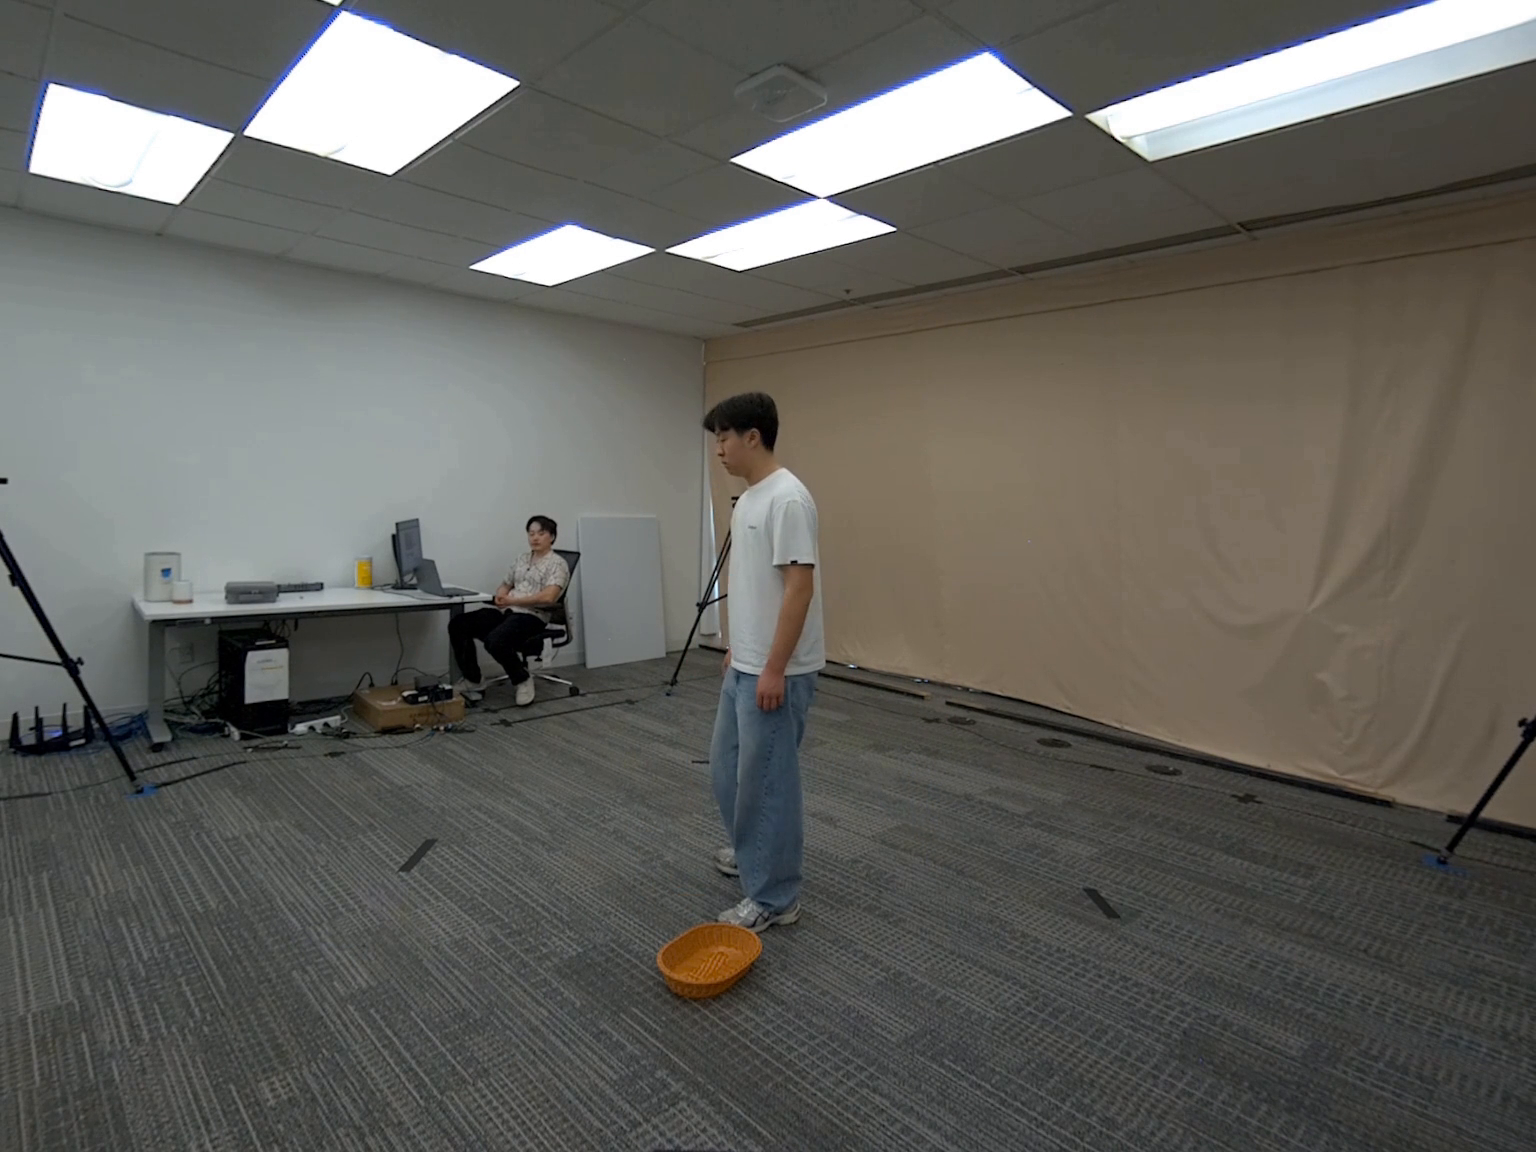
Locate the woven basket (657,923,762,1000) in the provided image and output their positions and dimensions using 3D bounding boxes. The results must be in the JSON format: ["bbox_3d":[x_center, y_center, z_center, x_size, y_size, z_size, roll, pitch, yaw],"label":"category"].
[{"bbox_3d":[-0.177,1.127,2.460,0.259,0.073,0.343,6,6,37],"label":"woven basket"}]
